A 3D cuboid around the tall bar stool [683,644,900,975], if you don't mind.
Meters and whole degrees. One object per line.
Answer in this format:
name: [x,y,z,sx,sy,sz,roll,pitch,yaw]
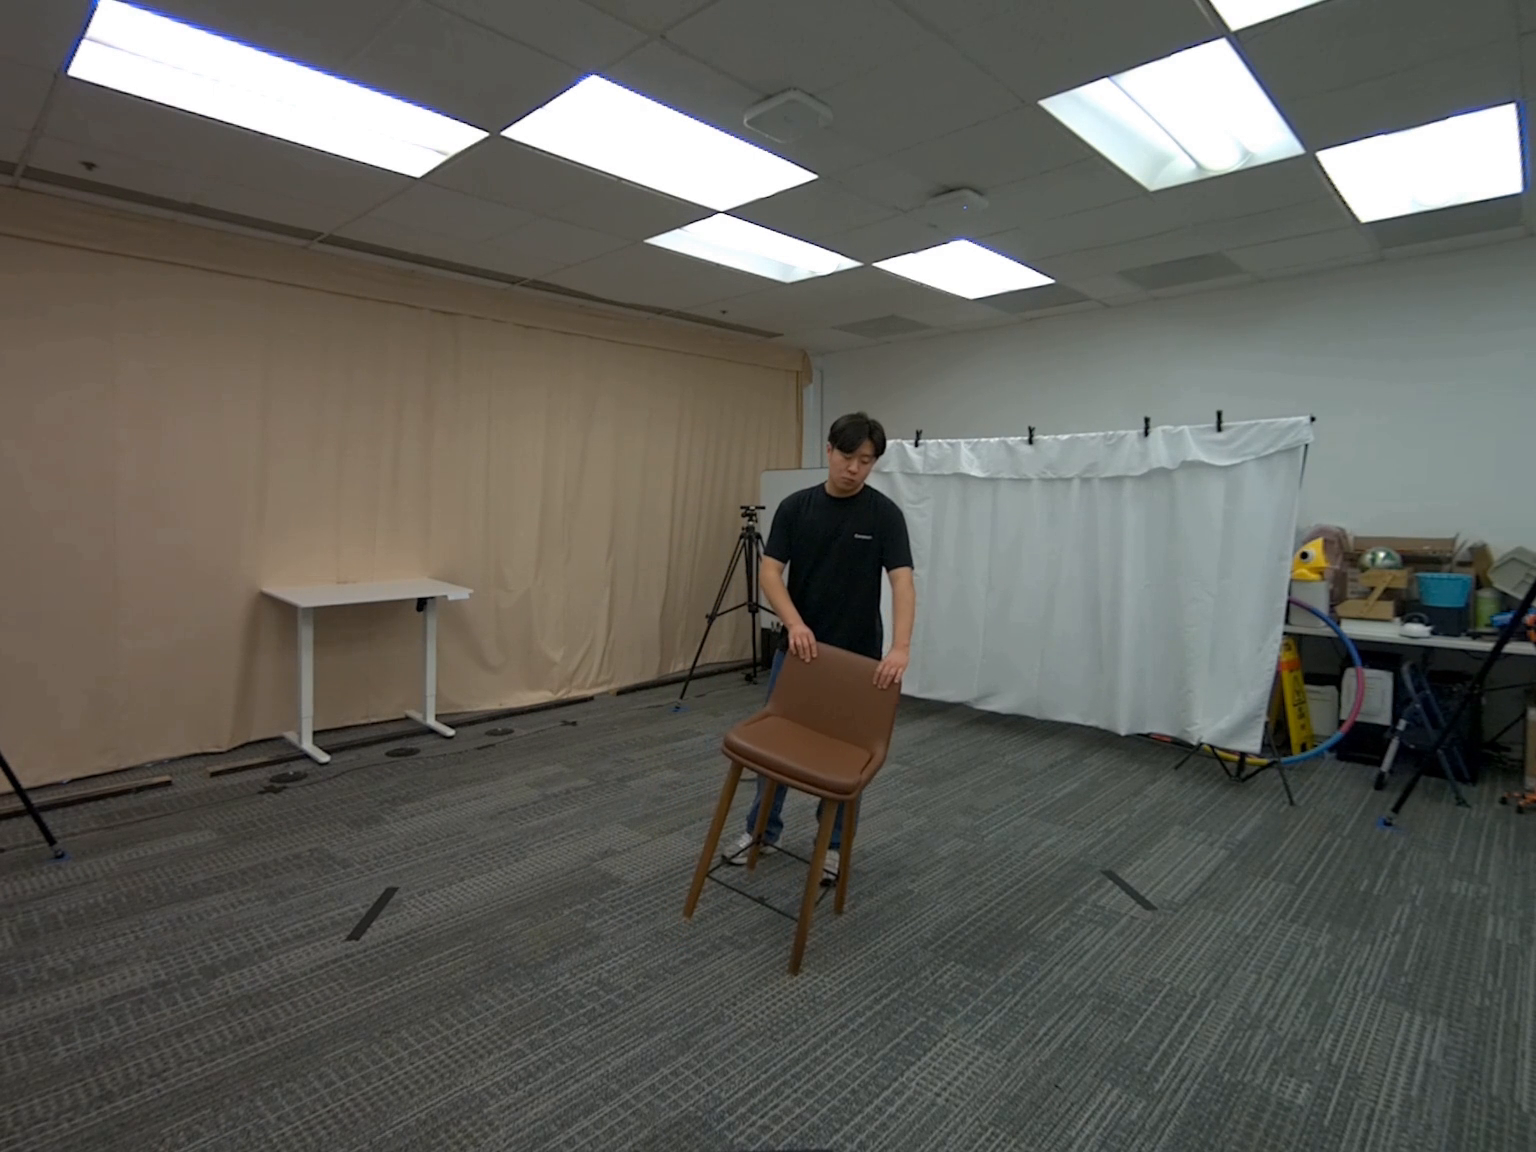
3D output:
tall bar stool: [0.100,0.696,2.721,0.470,0.887,0.455,16,8,27]
